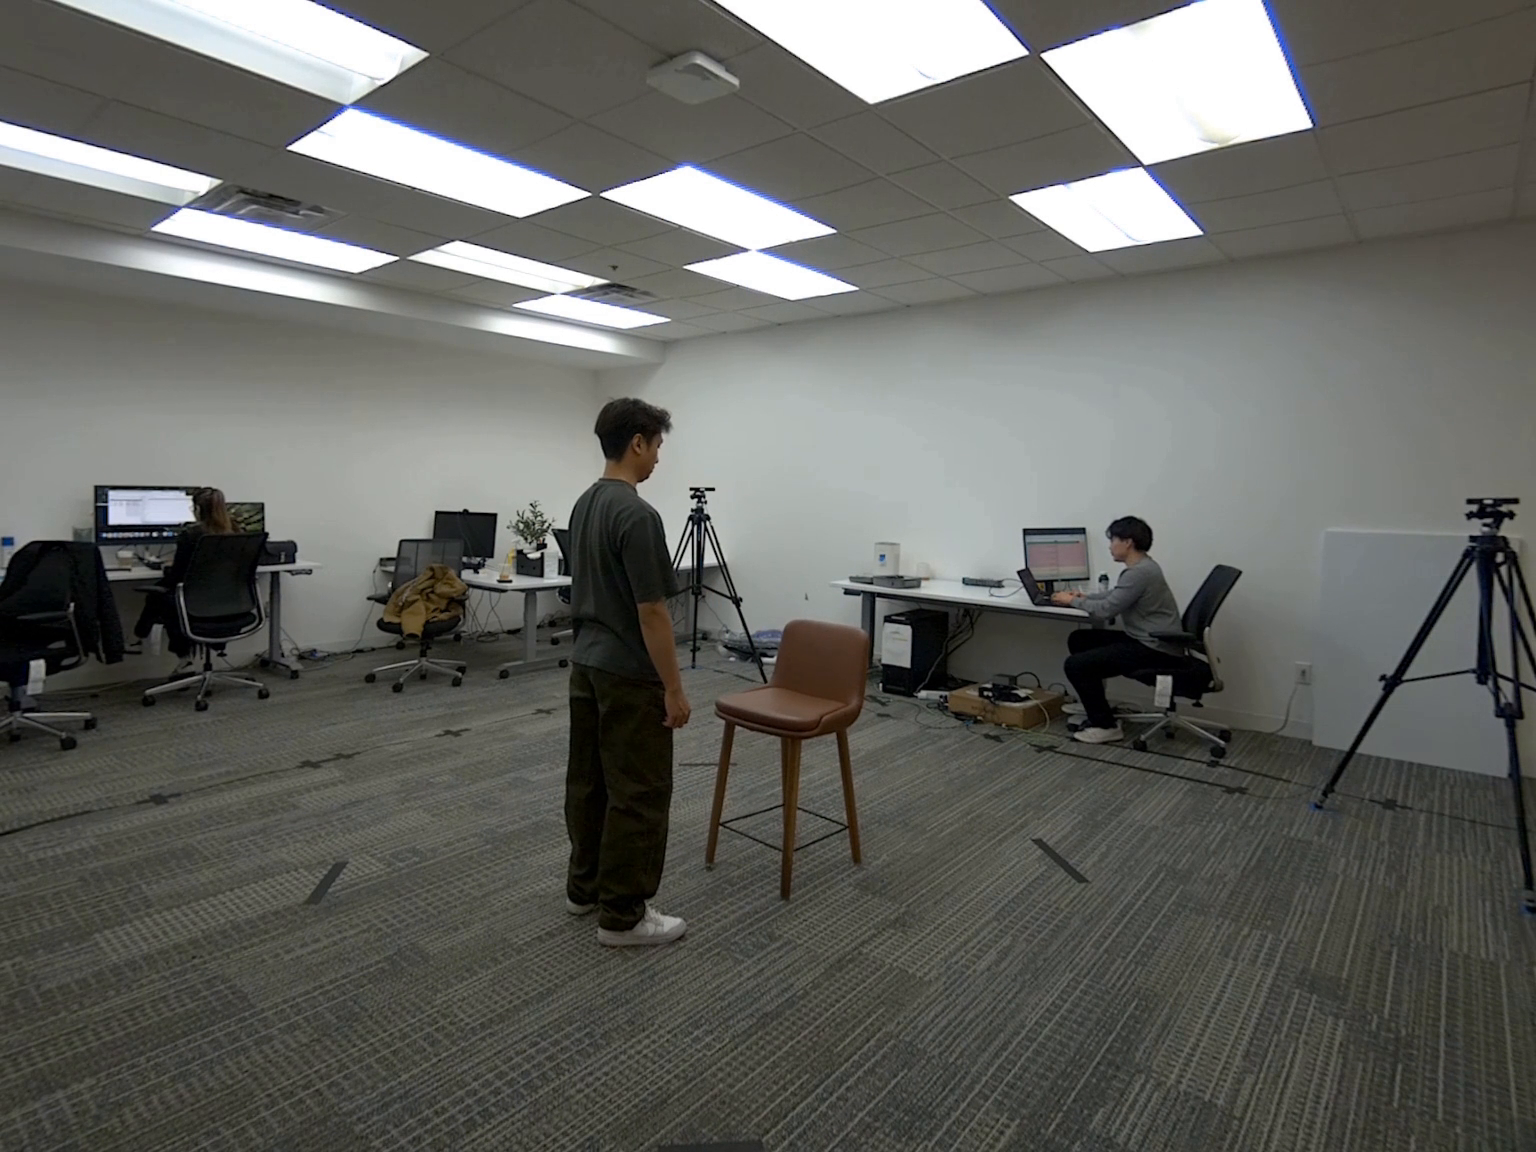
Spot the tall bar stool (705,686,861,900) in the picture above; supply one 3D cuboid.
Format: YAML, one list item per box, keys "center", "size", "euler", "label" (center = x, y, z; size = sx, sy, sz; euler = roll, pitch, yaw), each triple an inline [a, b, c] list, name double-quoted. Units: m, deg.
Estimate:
- center: [0.069, 0.633, 3.155]
  size: [0.472, 0.889, 0.452]
  euler: [4, 2, 45]
  label: "tall bar stool"
